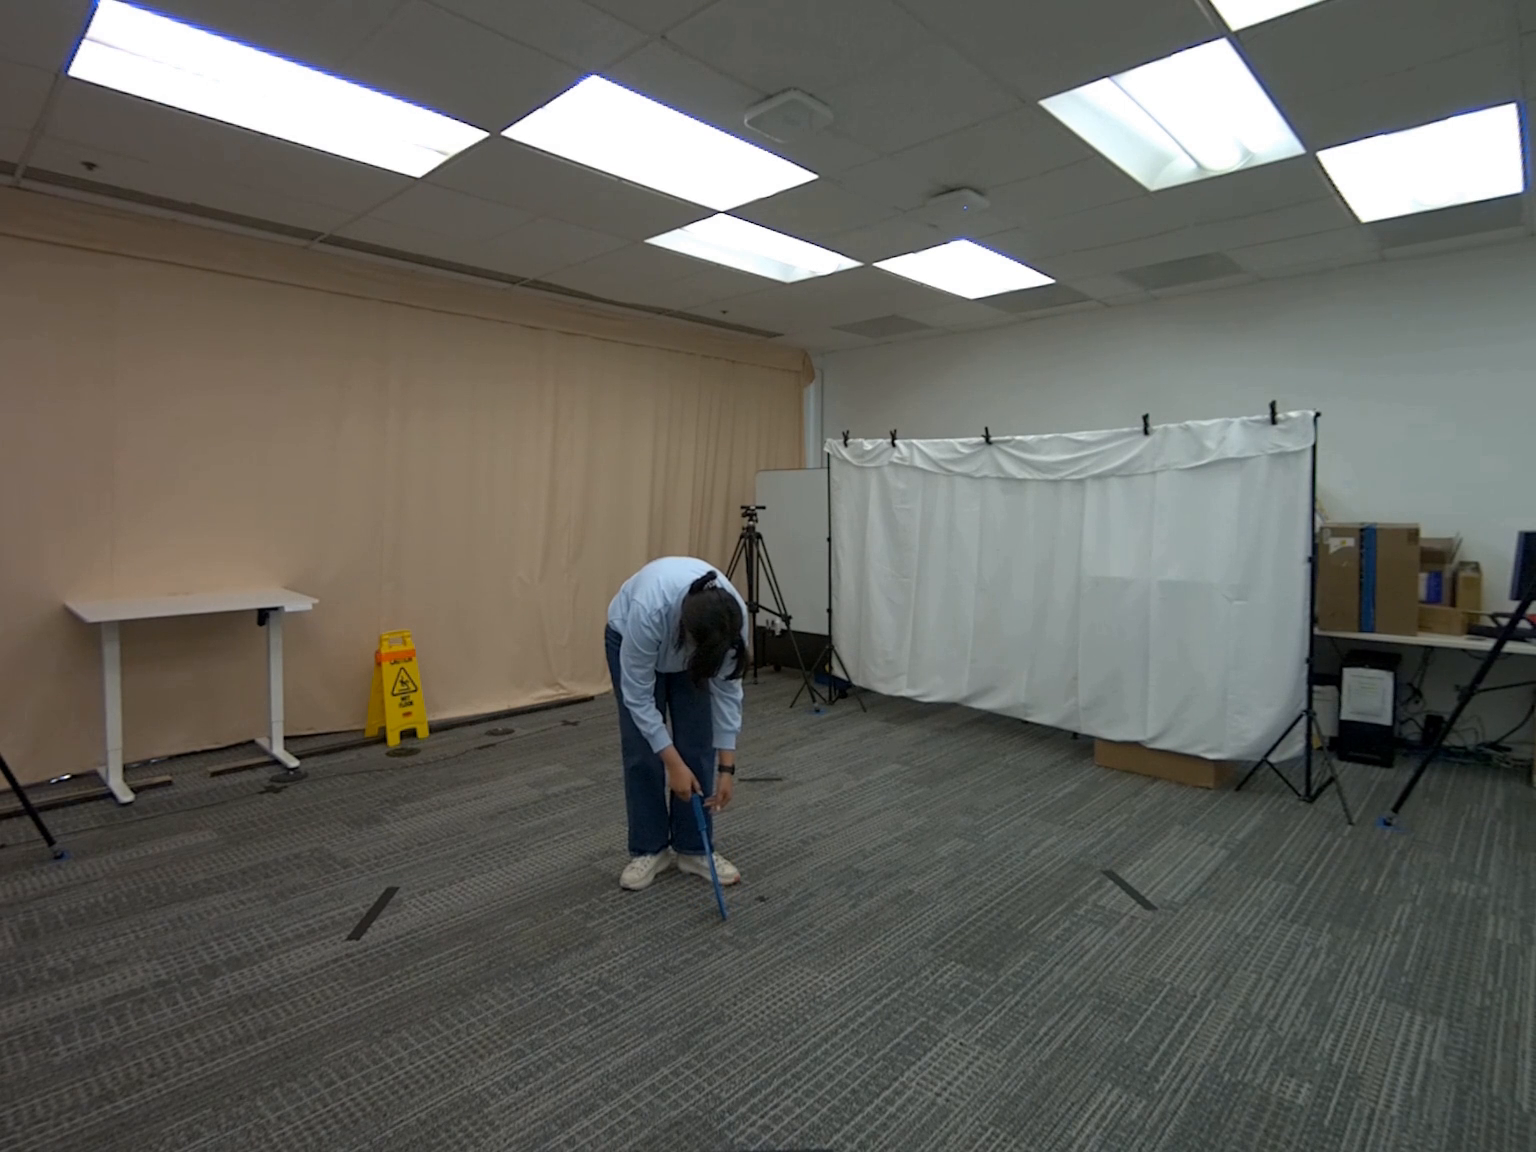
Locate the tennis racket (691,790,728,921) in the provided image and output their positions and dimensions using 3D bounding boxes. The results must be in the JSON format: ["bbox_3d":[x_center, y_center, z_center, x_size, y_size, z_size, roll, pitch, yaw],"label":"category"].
[{"bbox_3d":[-0.193,0.946,2.854,0.031,0.433,0.215,-13,1,-8],"label":"tennis racket"}]
